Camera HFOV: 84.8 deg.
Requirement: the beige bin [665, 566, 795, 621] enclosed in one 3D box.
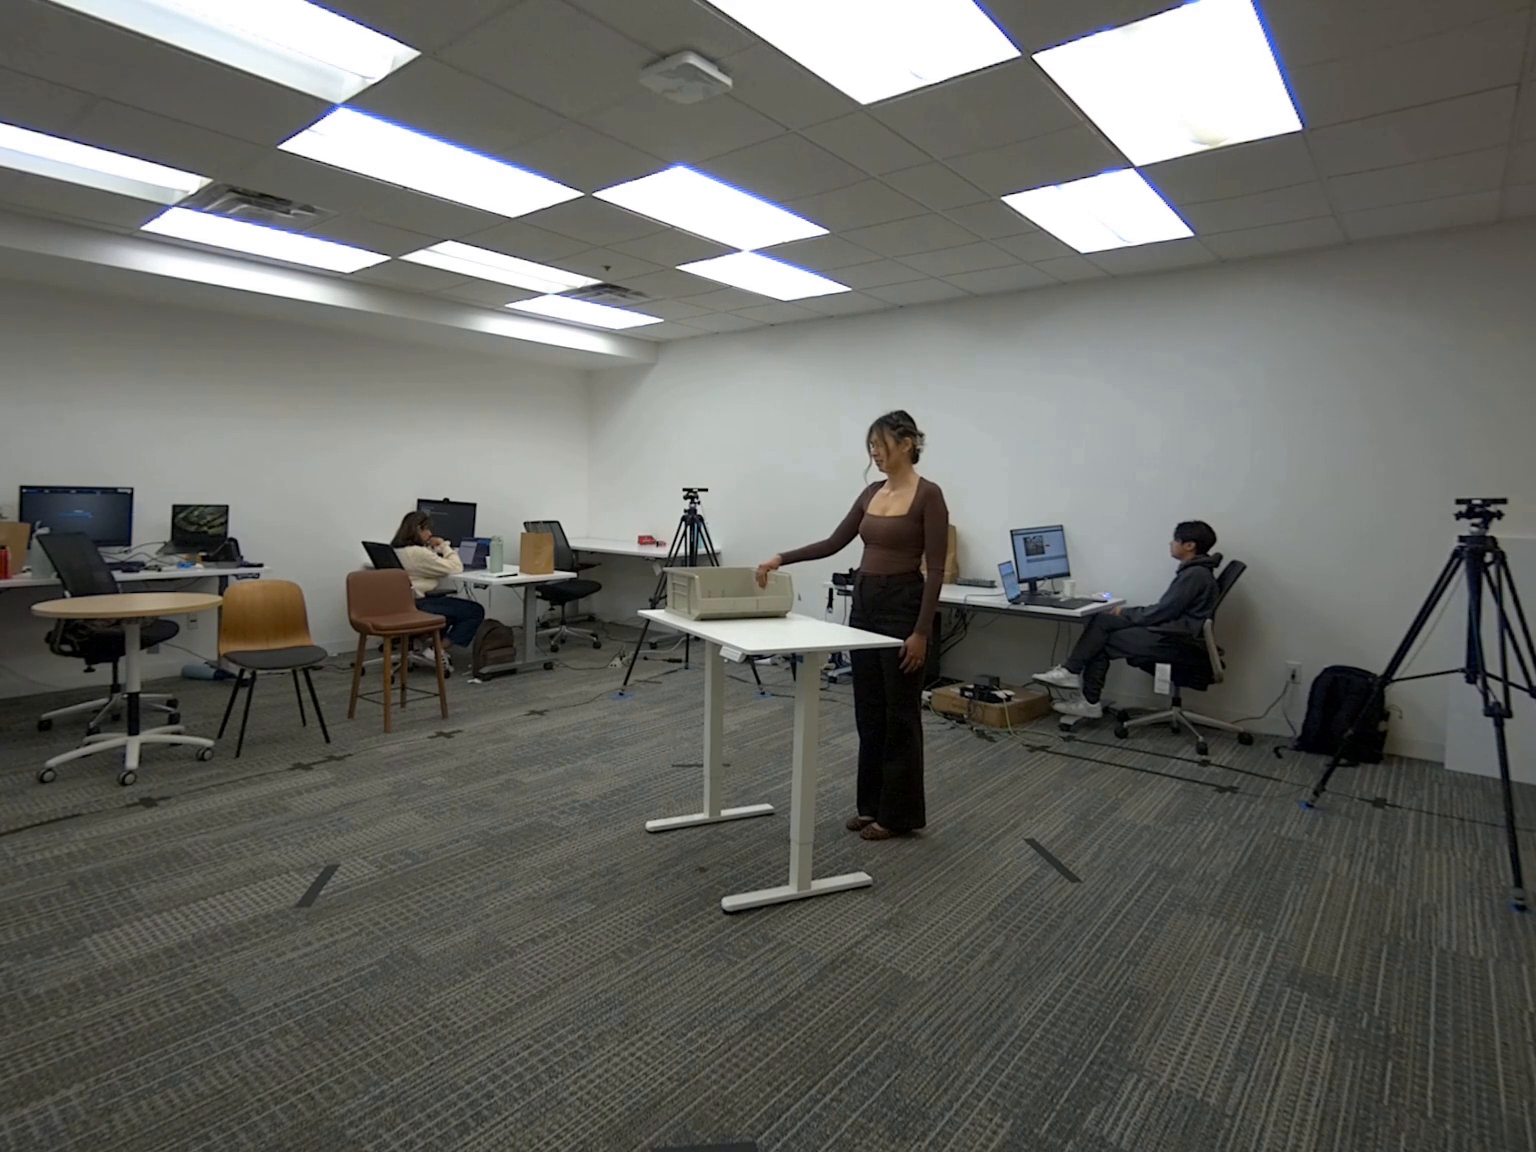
[{"bbox_3d":[-0.176,0.067,3.472,0.412,0.188,0.387,-2,4,-26],"label":"beige bin"}]
